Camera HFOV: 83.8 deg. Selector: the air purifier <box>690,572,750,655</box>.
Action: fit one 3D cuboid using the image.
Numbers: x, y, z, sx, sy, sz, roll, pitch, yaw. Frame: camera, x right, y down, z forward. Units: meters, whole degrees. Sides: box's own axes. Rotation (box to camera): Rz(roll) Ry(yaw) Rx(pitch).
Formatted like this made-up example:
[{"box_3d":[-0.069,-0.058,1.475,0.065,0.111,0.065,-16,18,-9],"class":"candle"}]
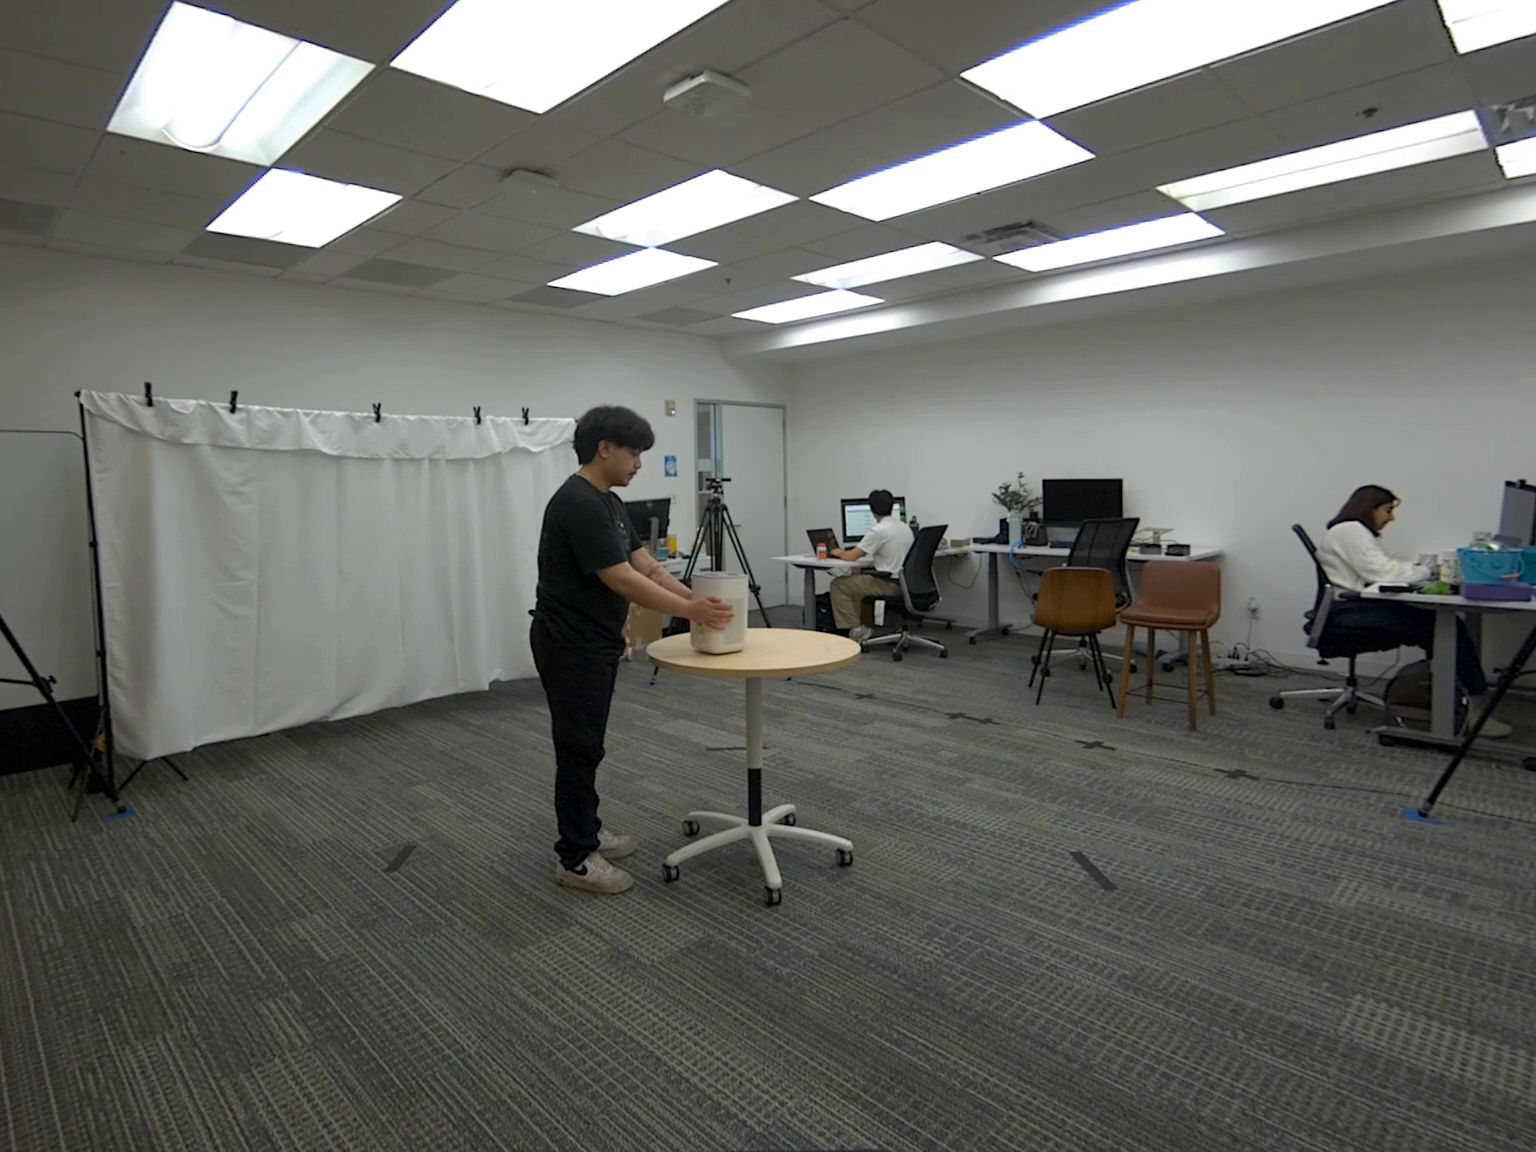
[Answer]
[{"box_3d":[-0.173,0.122,2.981,0.167,0.264,0.176,-3,5,-40],"class":"air purifier"}]
